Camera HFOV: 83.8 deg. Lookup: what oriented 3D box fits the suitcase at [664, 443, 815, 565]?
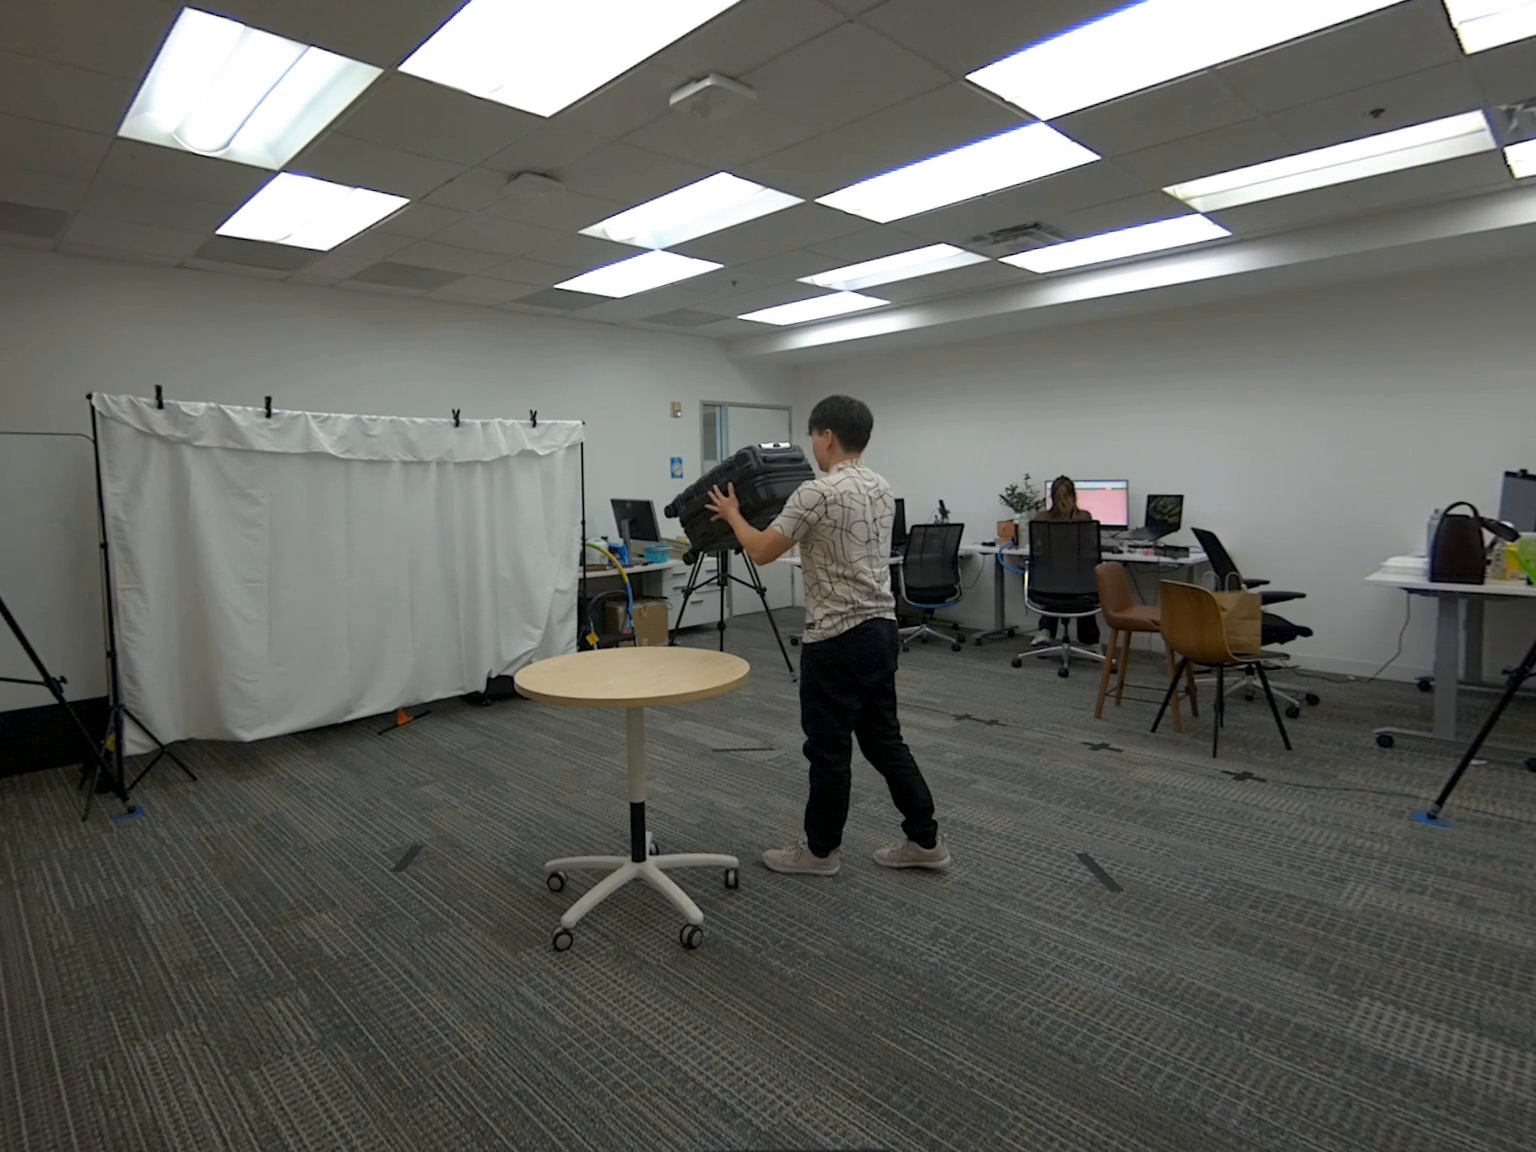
[{"bbox_3d":[-0.088,-0.295,3.348,0.366,0.252,0.554,-11,-16,-48],"label":"suitcase"}]
